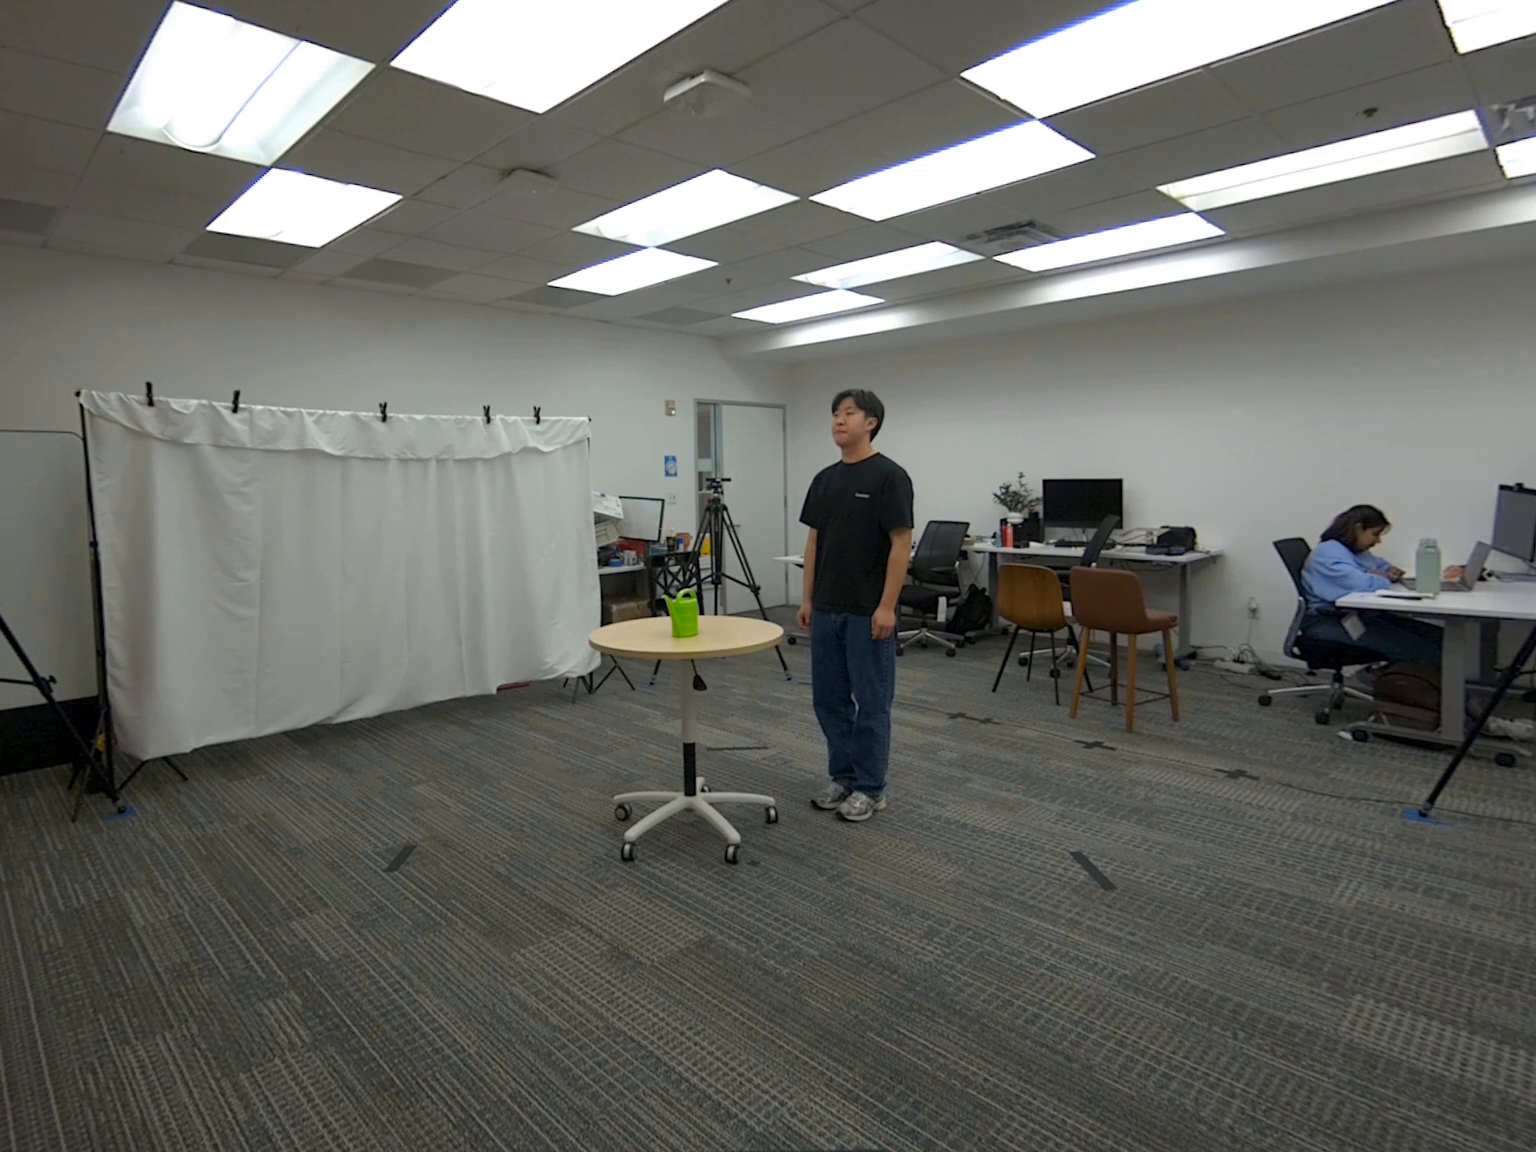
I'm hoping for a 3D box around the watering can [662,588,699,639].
[{"bbox_3d":[-0.340,0.143,3.275,0.100,0.176,0.271,1,4,32],"label":"watering can"}]
